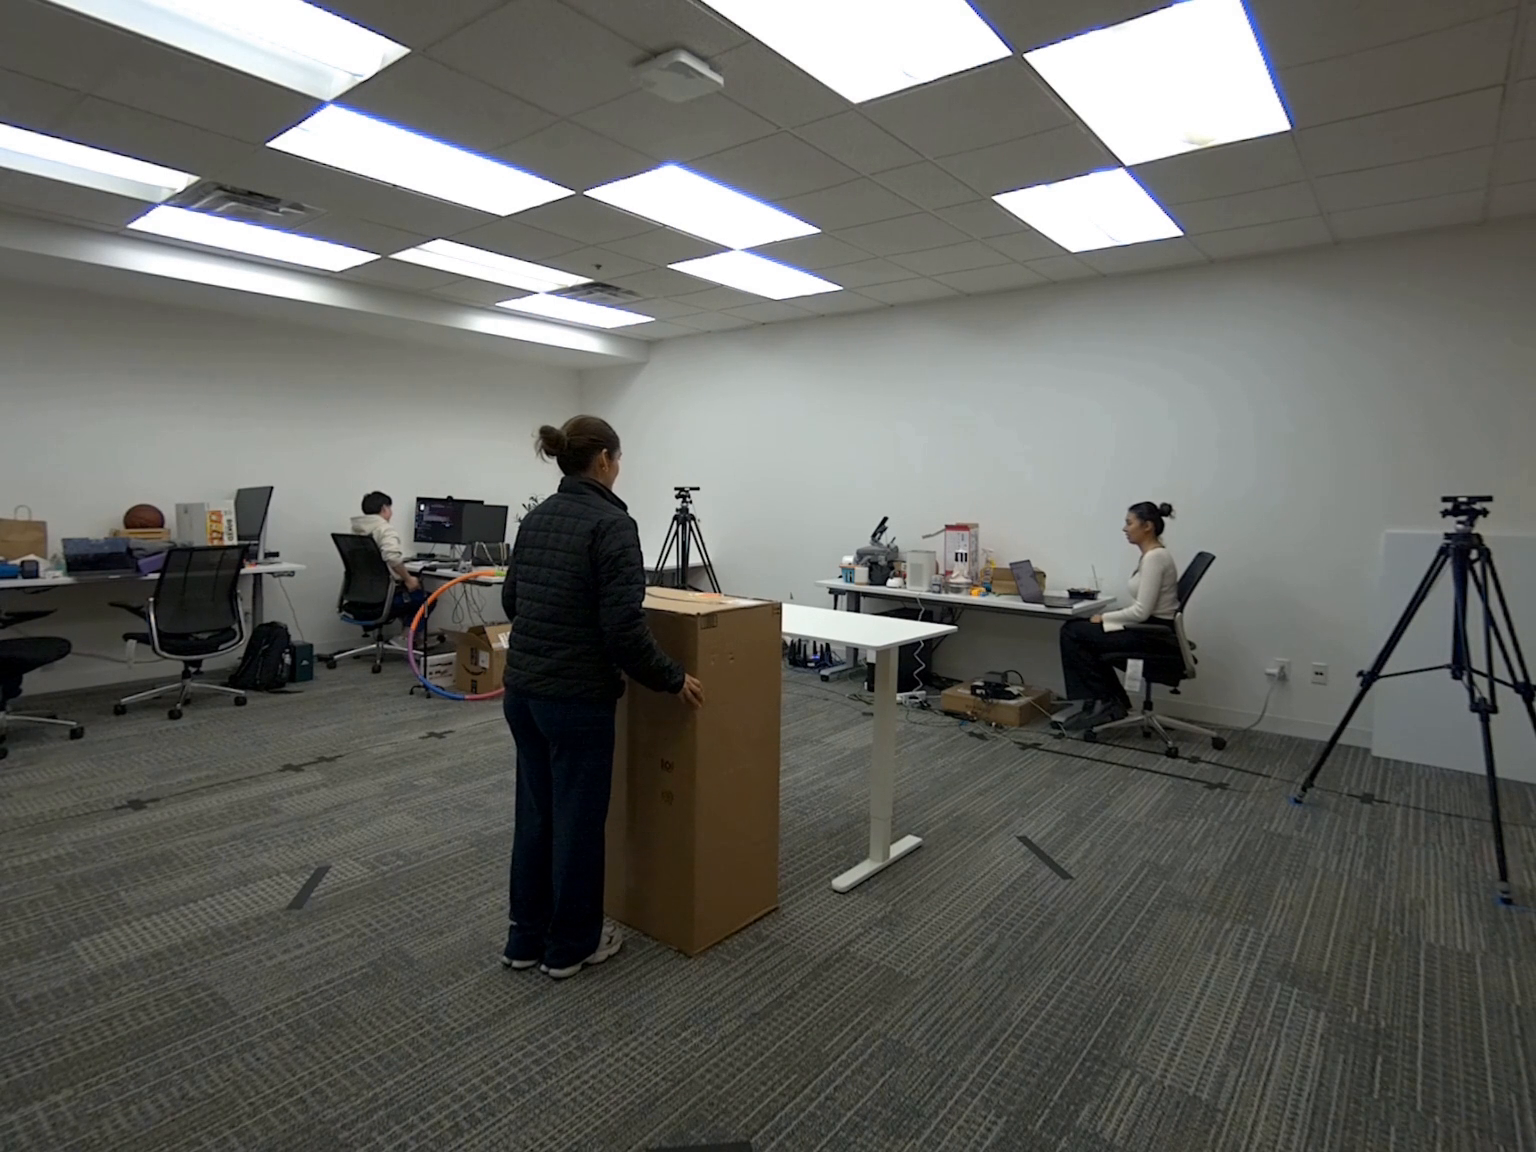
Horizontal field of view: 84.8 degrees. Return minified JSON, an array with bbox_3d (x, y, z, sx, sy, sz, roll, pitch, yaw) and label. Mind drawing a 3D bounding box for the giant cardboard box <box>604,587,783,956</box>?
[{"bbox_3d":[-0.294,0.582,2.847,0.597,1.023,0.413,3,4,40],"label":"giant cardboard box"}]
